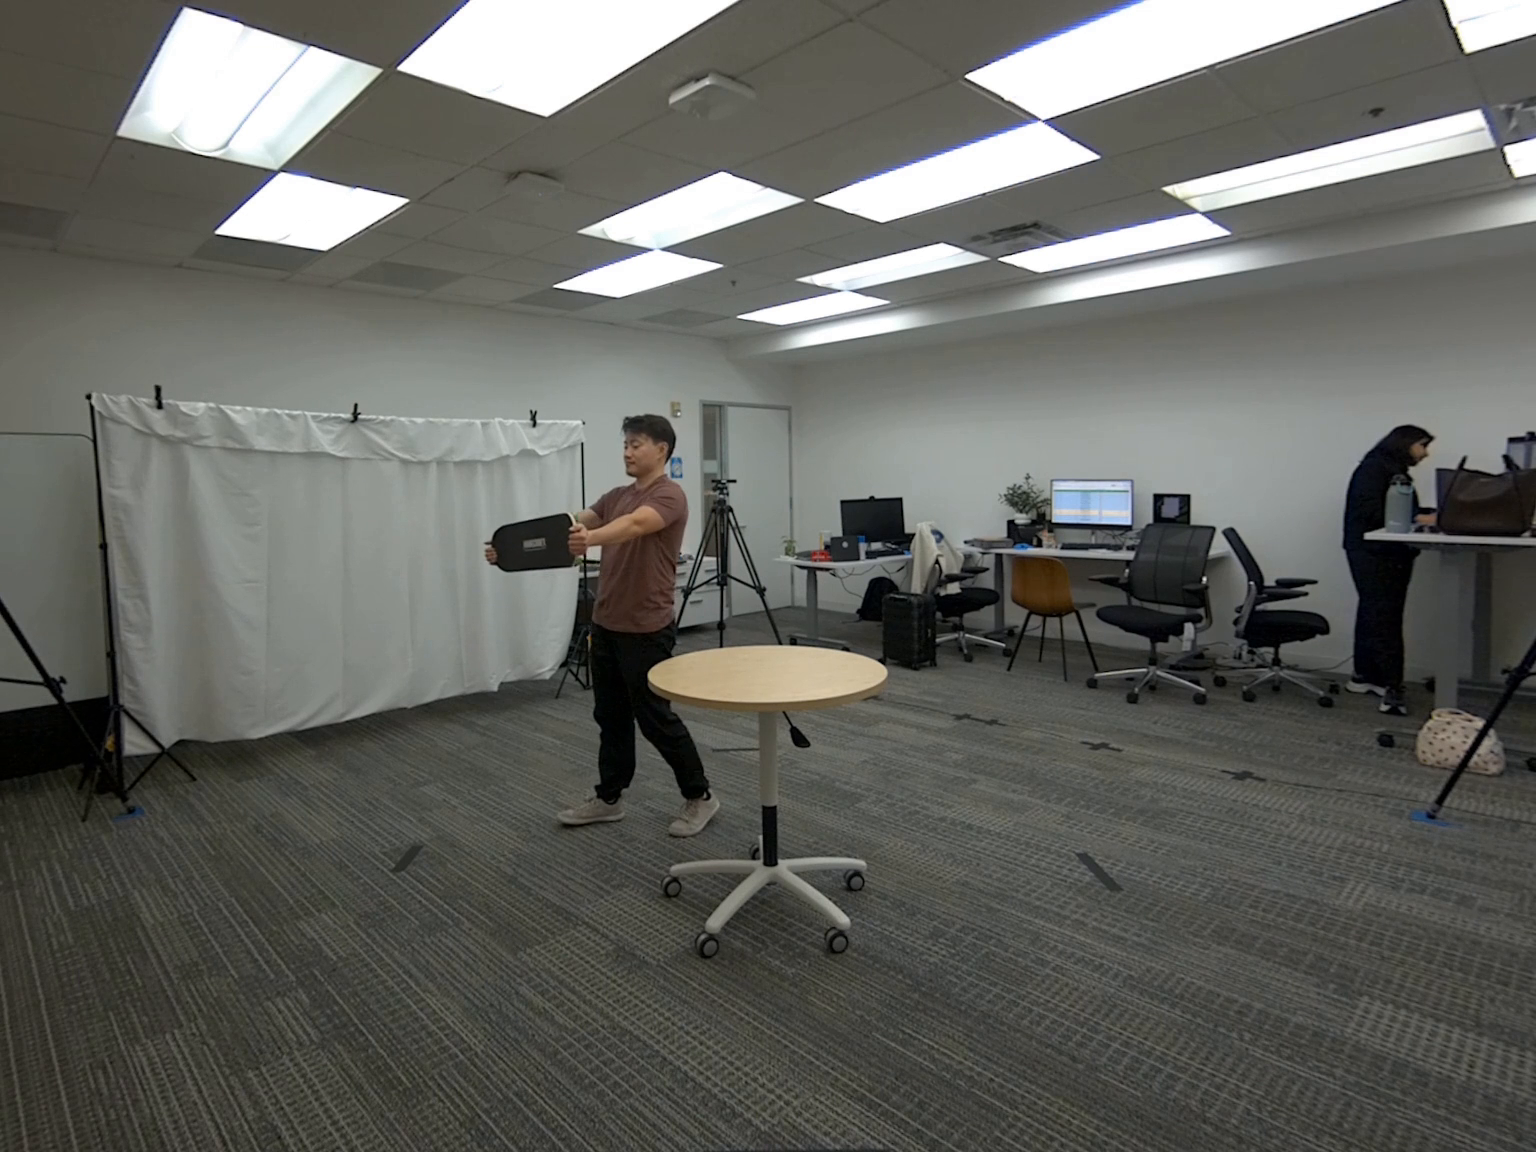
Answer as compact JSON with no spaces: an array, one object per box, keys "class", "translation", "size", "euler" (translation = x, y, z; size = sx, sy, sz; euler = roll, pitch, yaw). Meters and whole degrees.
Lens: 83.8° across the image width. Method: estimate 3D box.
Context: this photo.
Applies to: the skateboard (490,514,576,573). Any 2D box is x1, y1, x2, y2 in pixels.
[{"class":"skateboard","translation":[-0.841,-0.116,3.204],"size":[0.107,0.193,0.805],"euler":[-6,2,-37]}]
